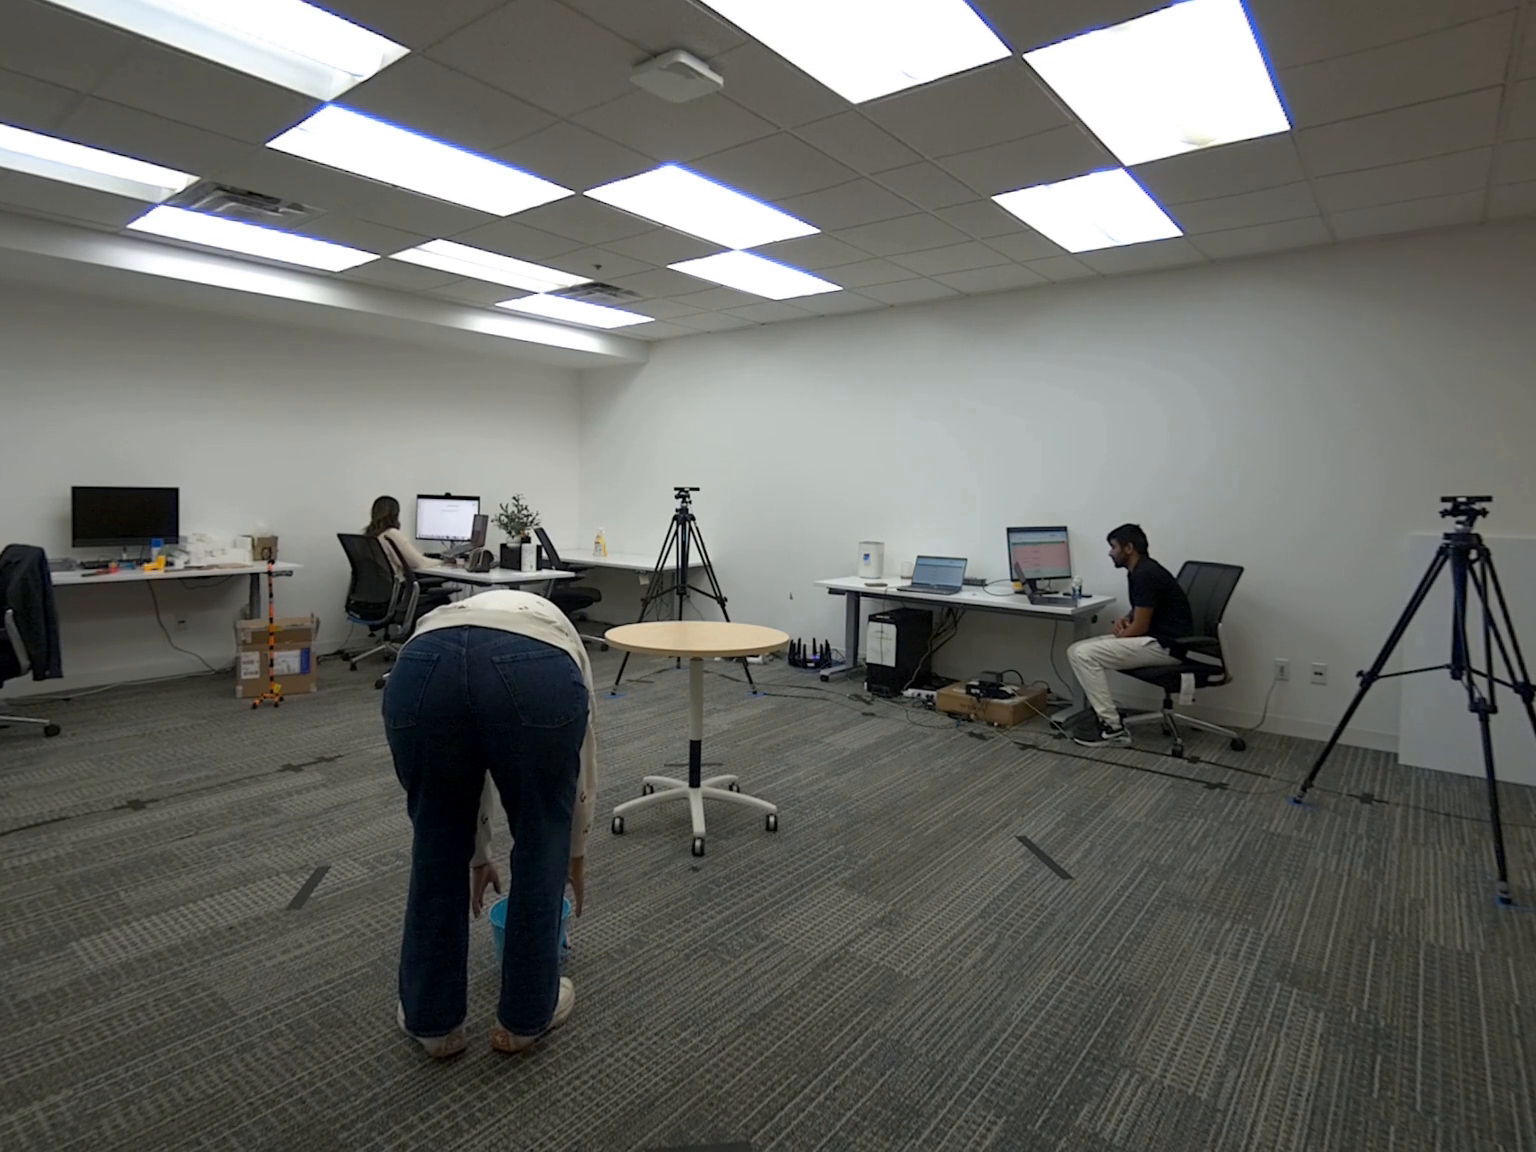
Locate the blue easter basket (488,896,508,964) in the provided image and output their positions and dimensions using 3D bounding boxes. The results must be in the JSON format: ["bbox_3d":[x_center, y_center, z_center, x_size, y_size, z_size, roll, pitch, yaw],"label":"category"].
[{"bbox_3d":[-0.697,1.041,2.476,0.243,0.155,0.245,0,5,-2],"label":"blue easter basket"}]
